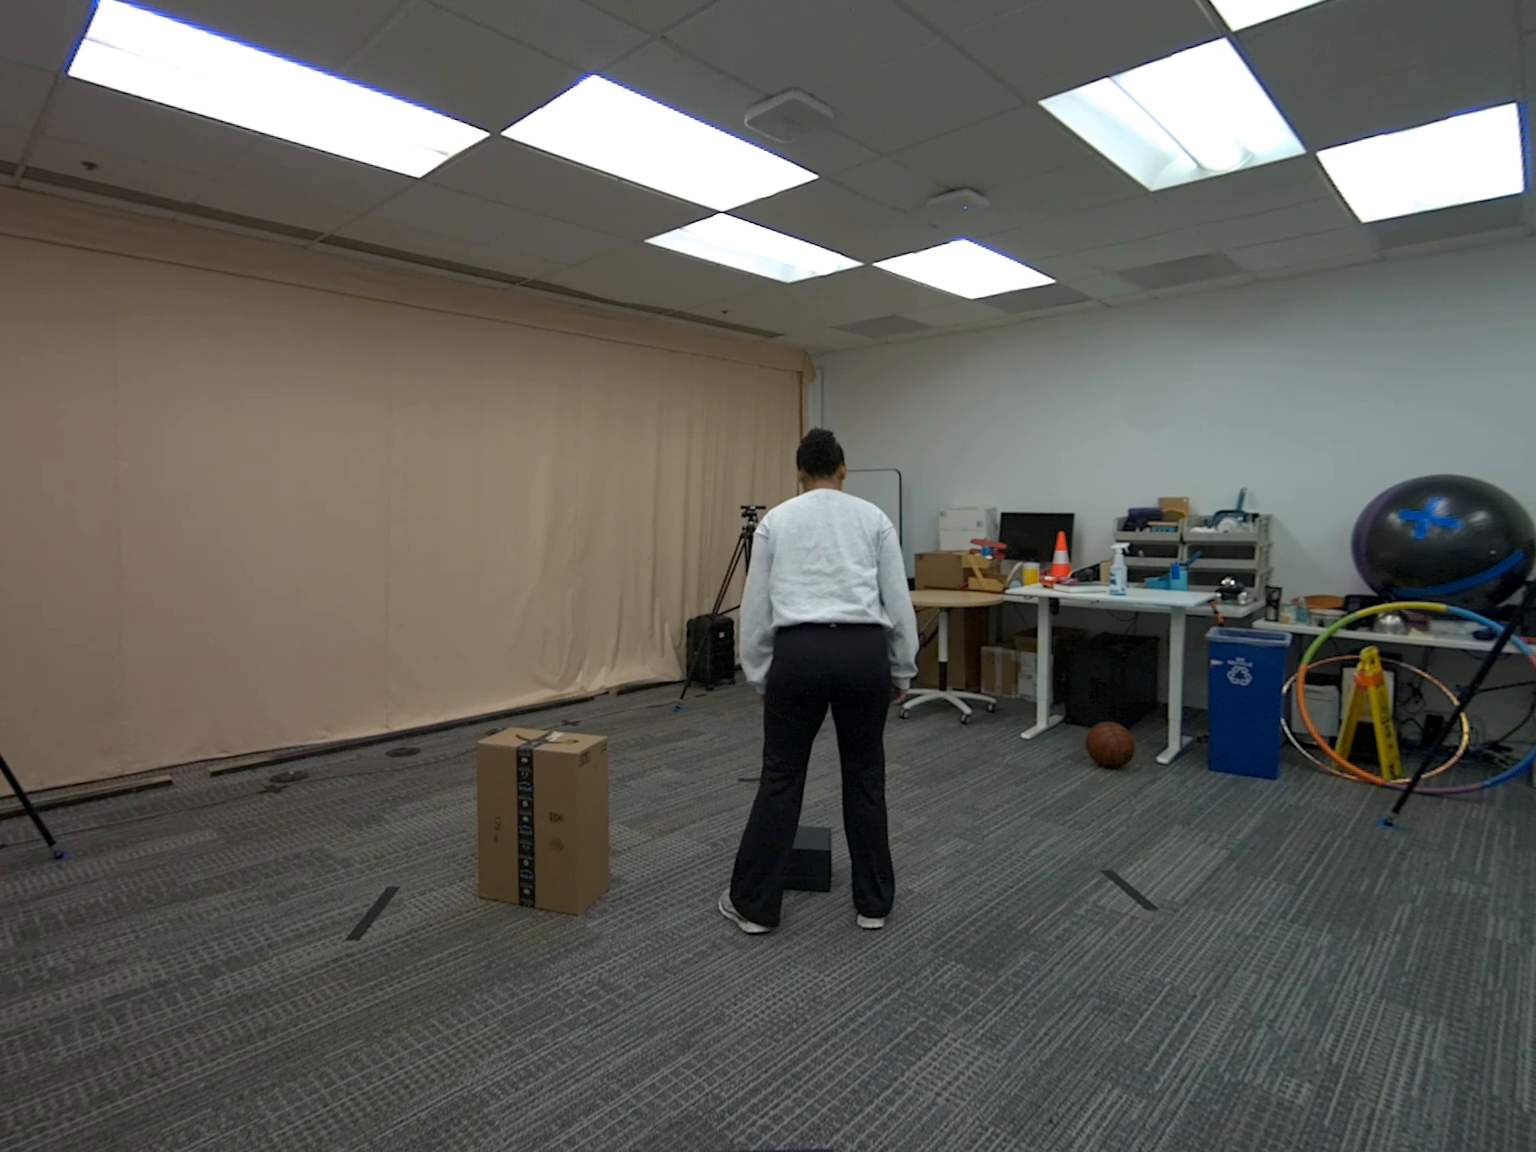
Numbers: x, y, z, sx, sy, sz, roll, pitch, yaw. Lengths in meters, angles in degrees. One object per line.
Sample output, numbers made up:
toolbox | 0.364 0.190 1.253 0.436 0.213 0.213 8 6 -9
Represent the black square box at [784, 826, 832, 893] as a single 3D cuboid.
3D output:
black square box | 0.129 1.047 3.136 0.230 0.155 0.215 2 4 7
